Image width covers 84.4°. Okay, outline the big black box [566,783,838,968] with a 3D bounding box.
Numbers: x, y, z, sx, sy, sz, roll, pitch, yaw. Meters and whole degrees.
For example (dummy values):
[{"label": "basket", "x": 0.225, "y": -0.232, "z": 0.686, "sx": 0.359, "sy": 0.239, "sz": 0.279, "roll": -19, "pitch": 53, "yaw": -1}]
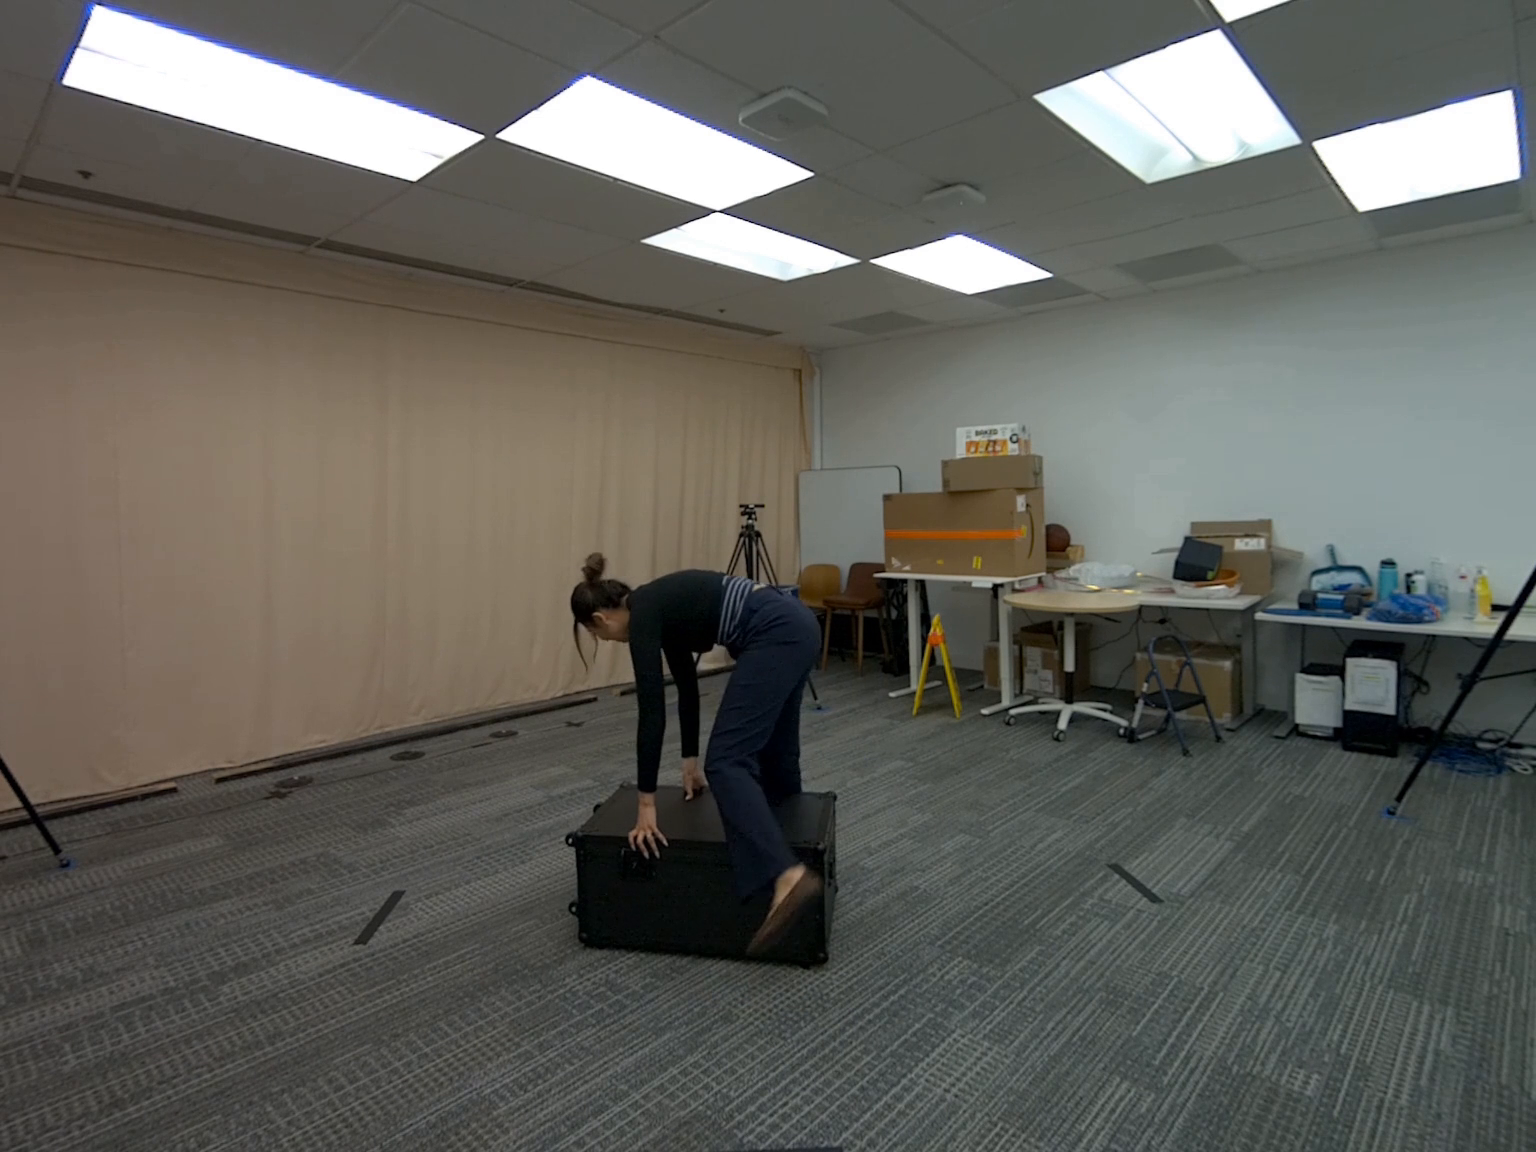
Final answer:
[{"label": "big black box", "x": -0.214, "y": 0.965, "z": 2.811, "sx": 0.872, "sy": 0.395, "sz": 0.516, "roll": 0, "pitch": 5, "yaw": 11}]
